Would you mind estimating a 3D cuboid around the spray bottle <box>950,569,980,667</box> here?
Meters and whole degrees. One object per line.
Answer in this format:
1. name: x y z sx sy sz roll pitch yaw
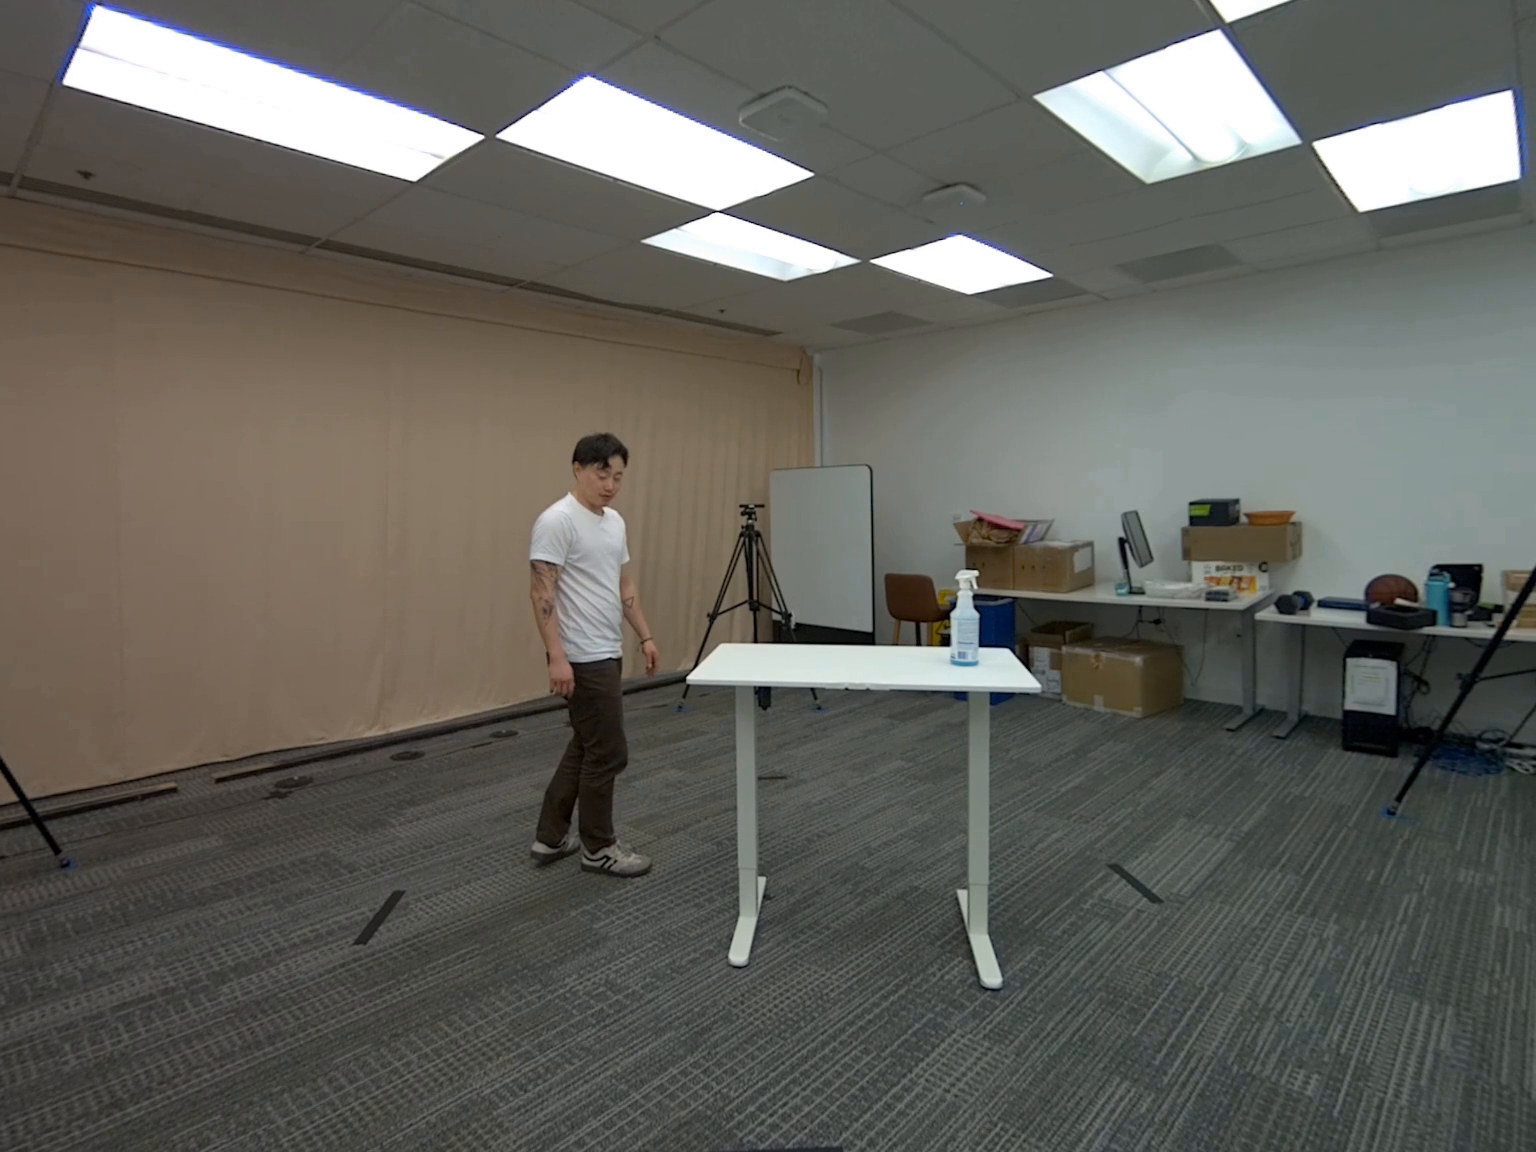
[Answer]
1. spray bottle: 0.621 0.132 2.629 0.087 0.296 0.090 -1 4 -3
